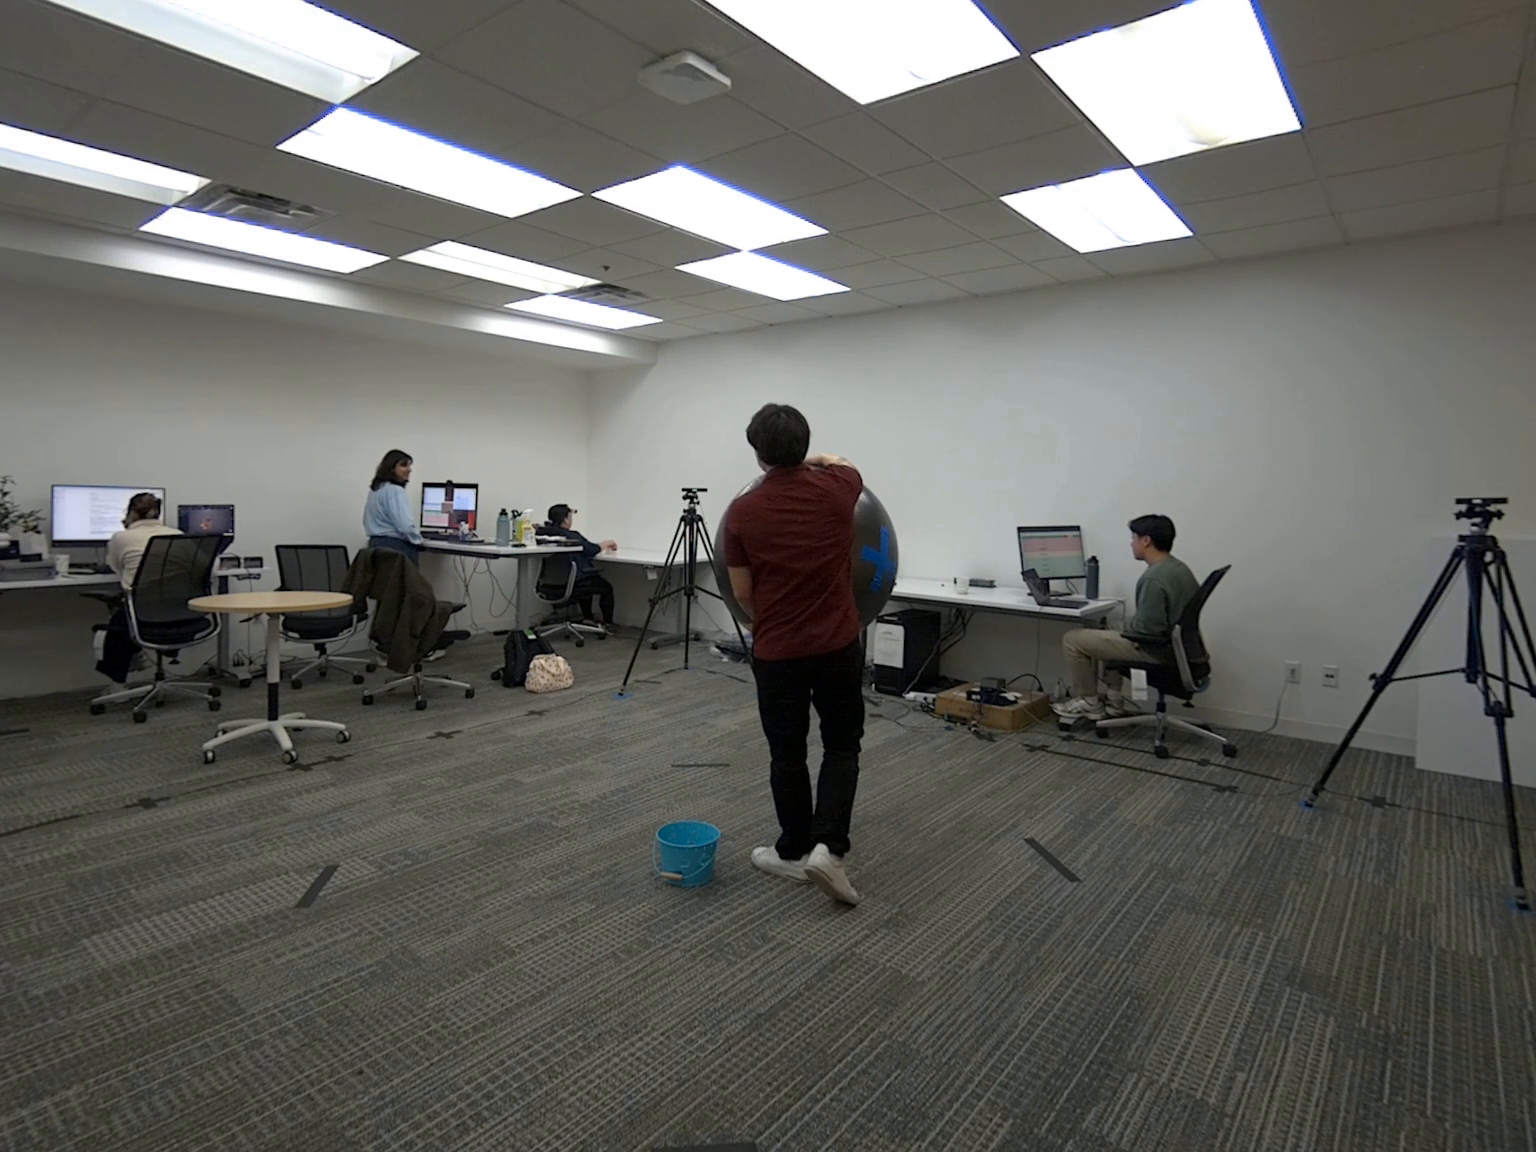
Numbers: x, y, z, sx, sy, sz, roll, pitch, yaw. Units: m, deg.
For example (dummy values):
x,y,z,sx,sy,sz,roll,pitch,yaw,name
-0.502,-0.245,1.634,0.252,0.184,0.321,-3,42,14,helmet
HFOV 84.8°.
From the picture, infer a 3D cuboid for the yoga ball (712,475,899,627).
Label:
x,y,z,sx,sy,sz,roll,pitch,yaw,name
0.151,-0.077,3.497,0.757,0.756,0.761,1,4,-2,yoga ball
